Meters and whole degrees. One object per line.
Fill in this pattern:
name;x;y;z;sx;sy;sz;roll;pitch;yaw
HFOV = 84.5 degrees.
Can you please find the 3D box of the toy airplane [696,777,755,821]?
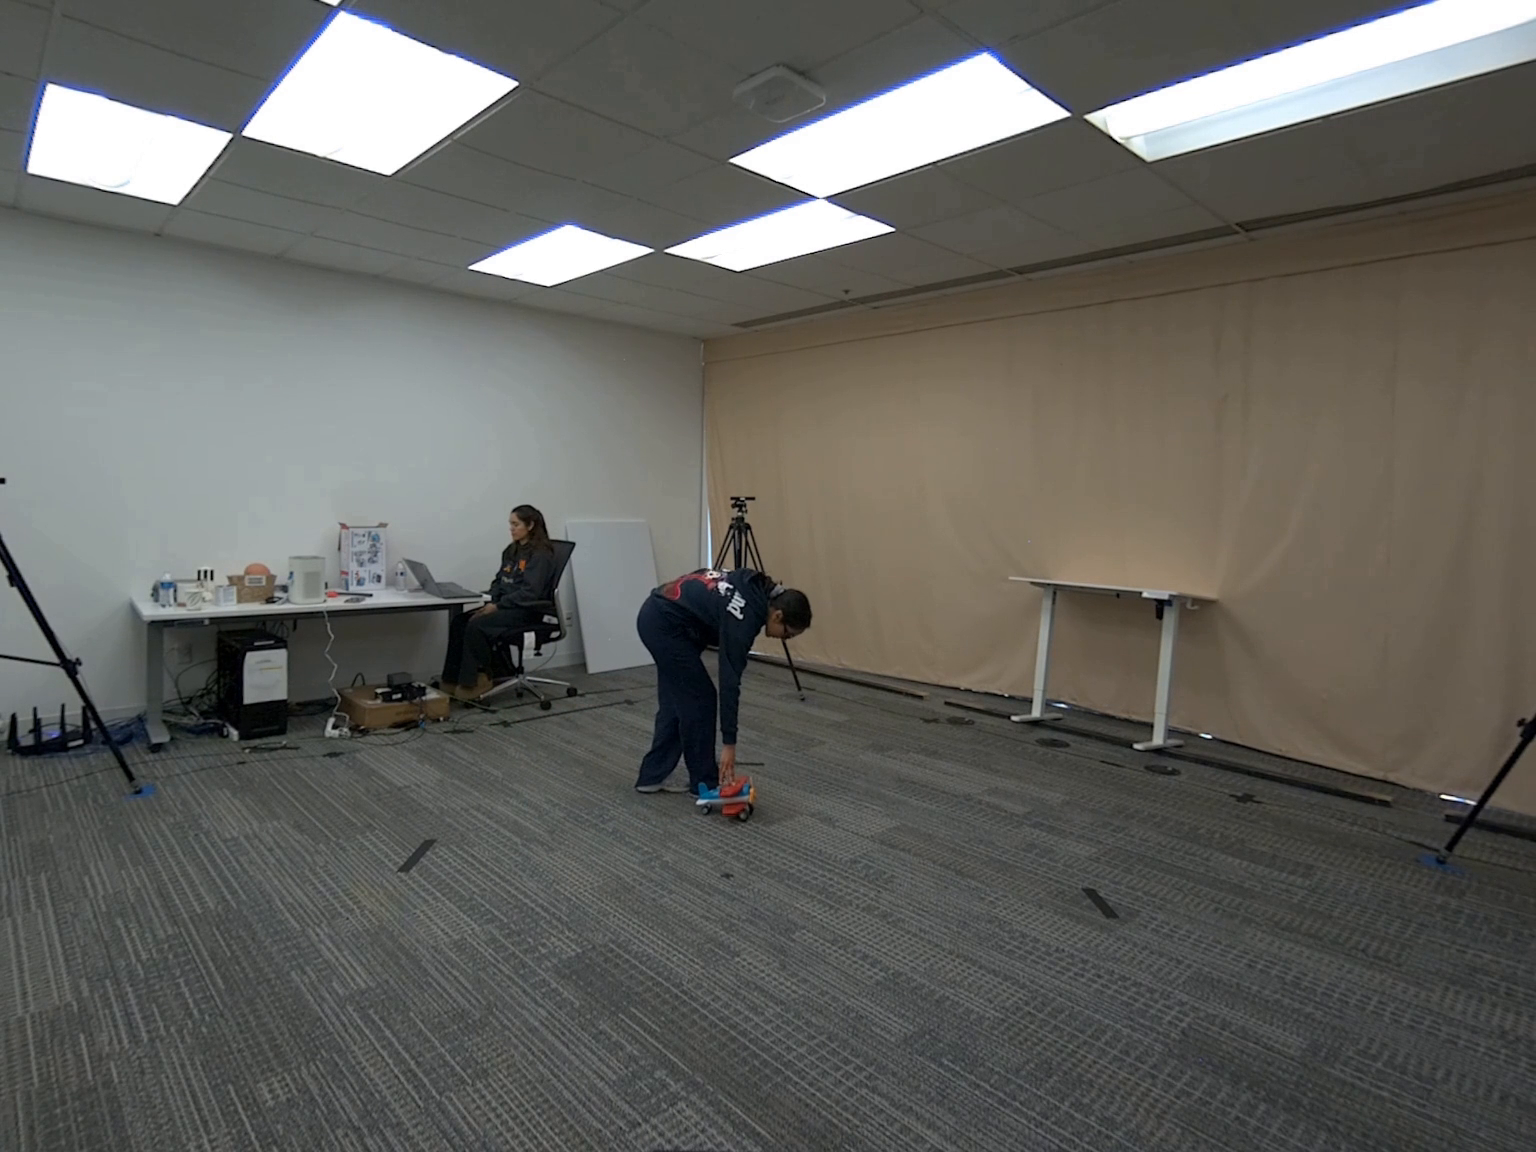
toy airplane;-0.197;0.985;3.684;0.256;0.156;0.254;0;4;-13
